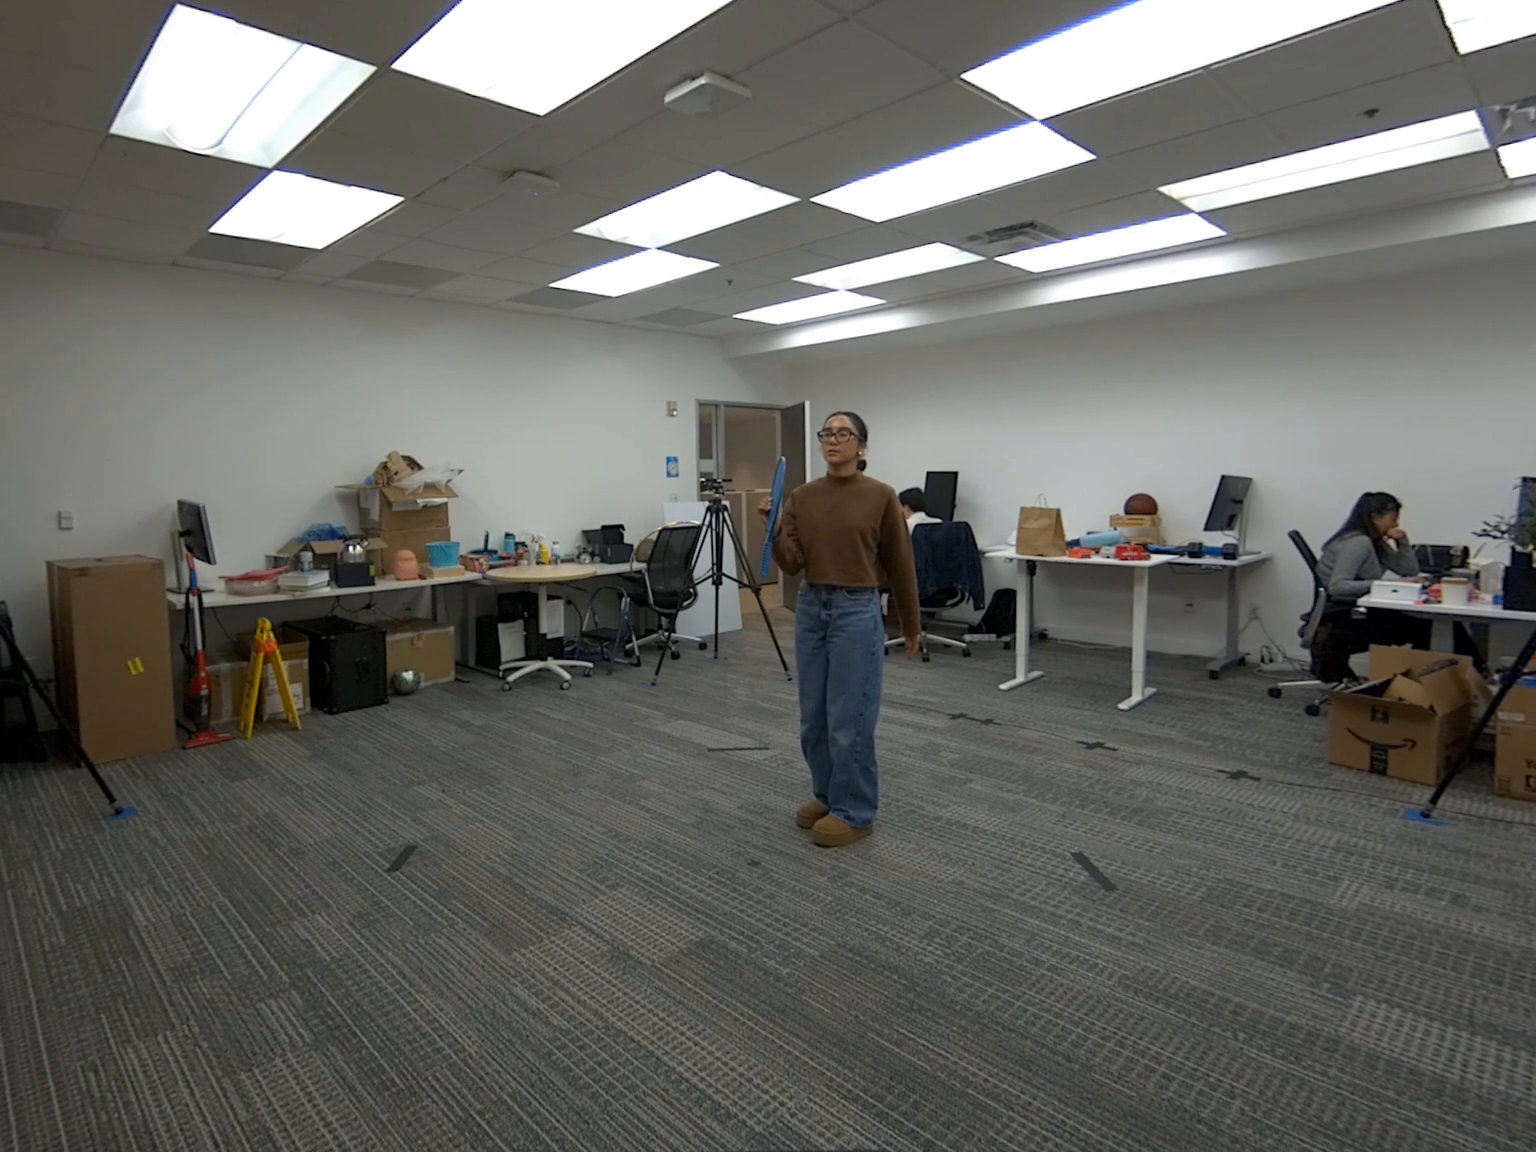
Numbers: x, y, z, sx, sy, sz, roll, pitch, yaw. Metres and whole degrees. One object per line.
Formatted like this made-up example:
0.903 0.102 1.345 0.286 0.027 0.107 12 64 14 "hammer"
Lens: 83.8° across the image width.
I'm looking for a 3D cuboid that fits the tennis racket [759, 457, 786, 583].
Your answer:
0.021 -0.212 3.006 0.031 0.434 0.215 9 -3 -9 "tennis racket"
